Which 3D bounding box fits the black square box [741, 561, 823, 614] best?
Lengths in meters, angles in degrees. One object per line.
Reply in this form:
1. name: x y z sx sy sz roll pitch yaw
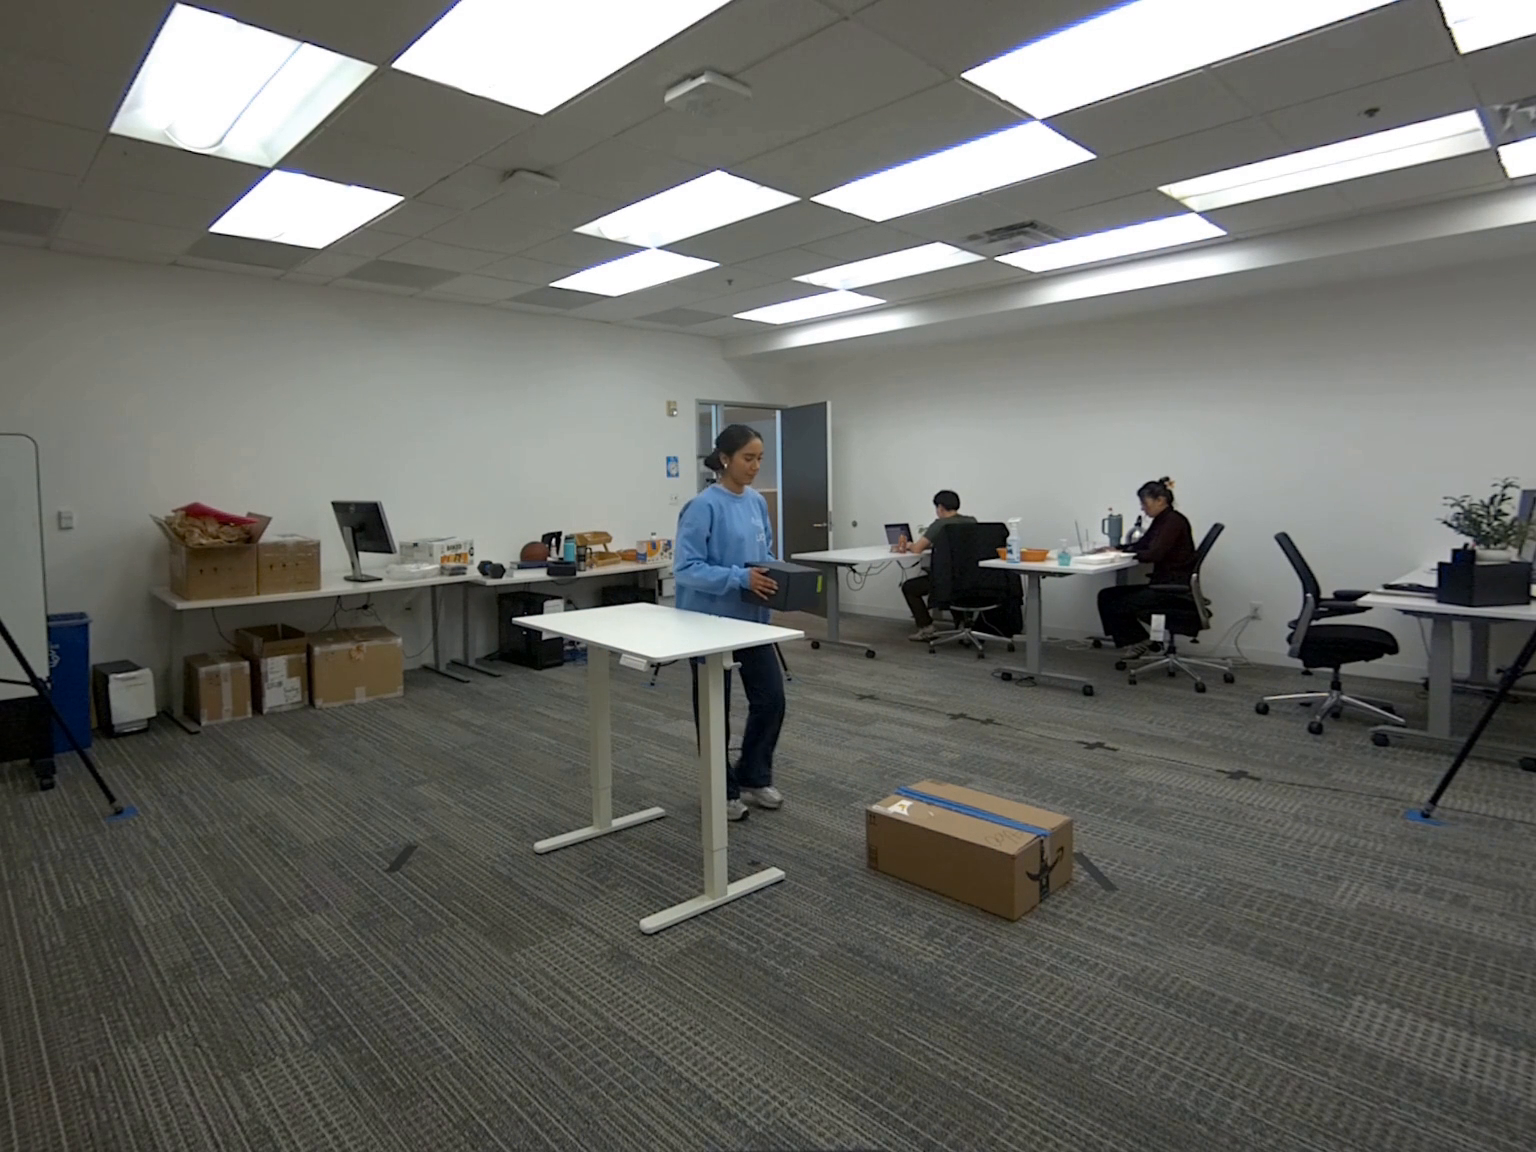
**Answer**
1. black square box: 0.057 0.045 3.370 0.235 0.155 0.211 11 8 40
